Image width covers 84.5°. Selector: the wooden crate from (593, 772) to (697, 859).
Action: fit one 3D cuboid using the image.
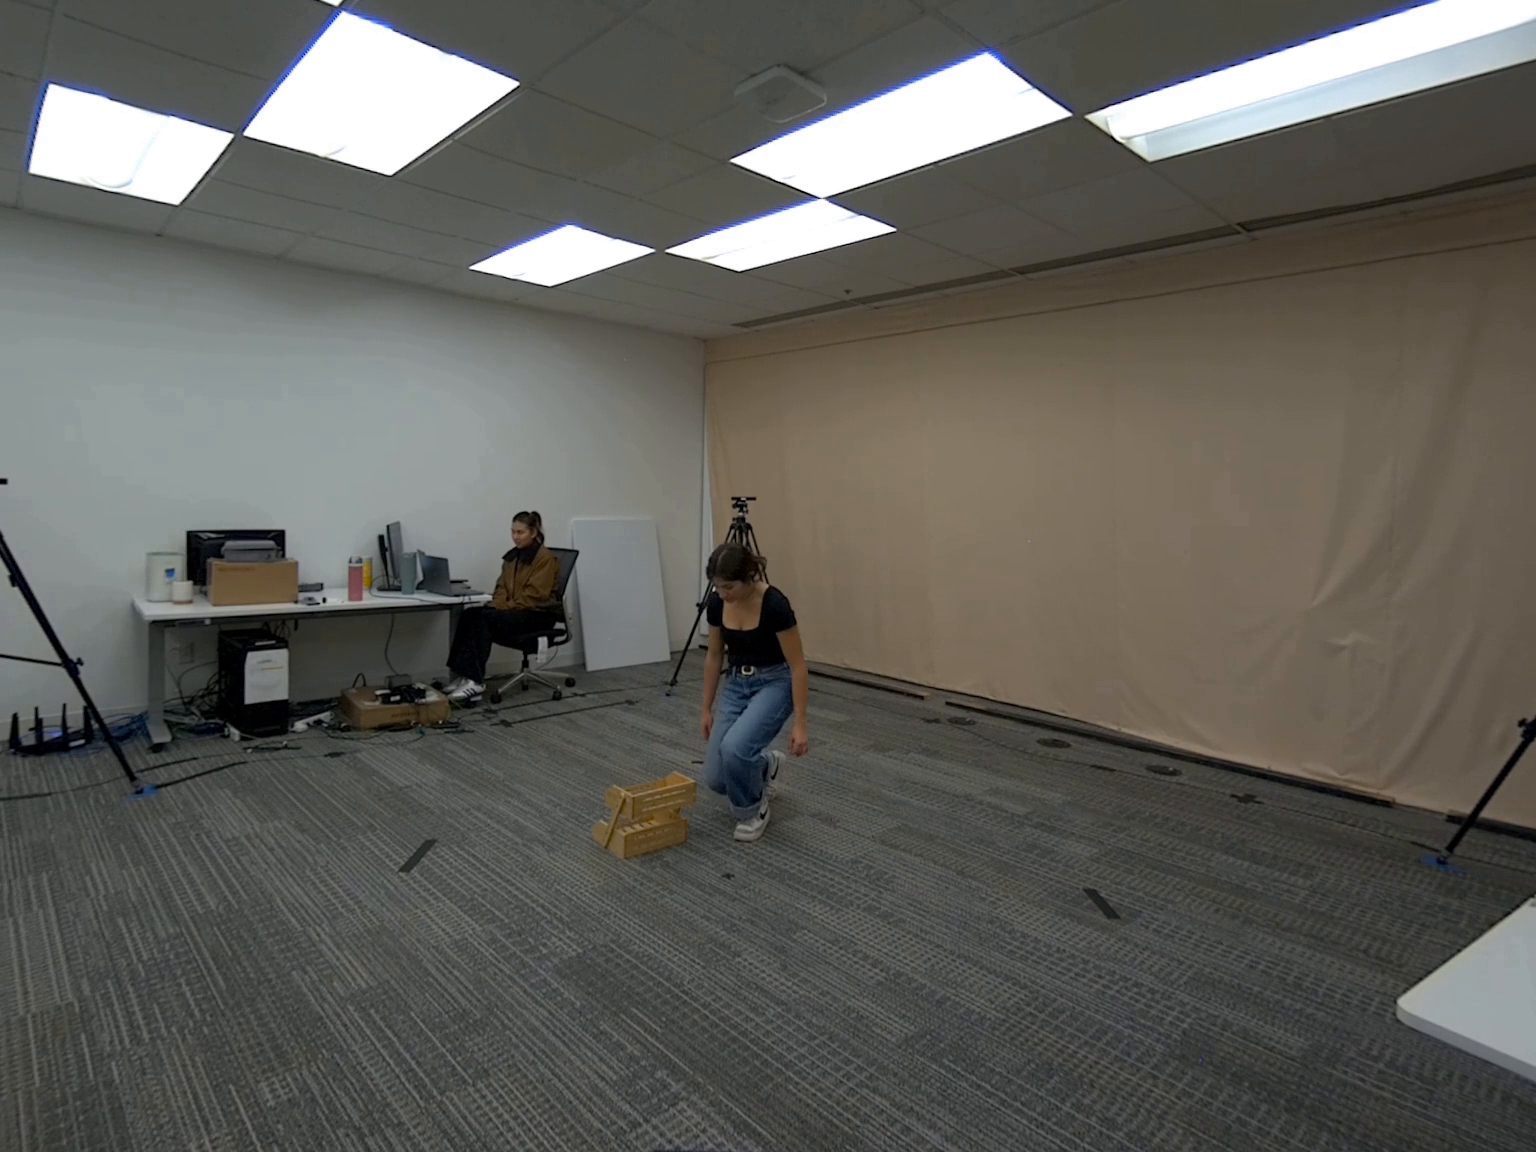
[{"bbox_3d":[-0.515,0.942,3.390,0.317,0.272,0.310,-2,6,-41],"label":"wooden crate"}]
